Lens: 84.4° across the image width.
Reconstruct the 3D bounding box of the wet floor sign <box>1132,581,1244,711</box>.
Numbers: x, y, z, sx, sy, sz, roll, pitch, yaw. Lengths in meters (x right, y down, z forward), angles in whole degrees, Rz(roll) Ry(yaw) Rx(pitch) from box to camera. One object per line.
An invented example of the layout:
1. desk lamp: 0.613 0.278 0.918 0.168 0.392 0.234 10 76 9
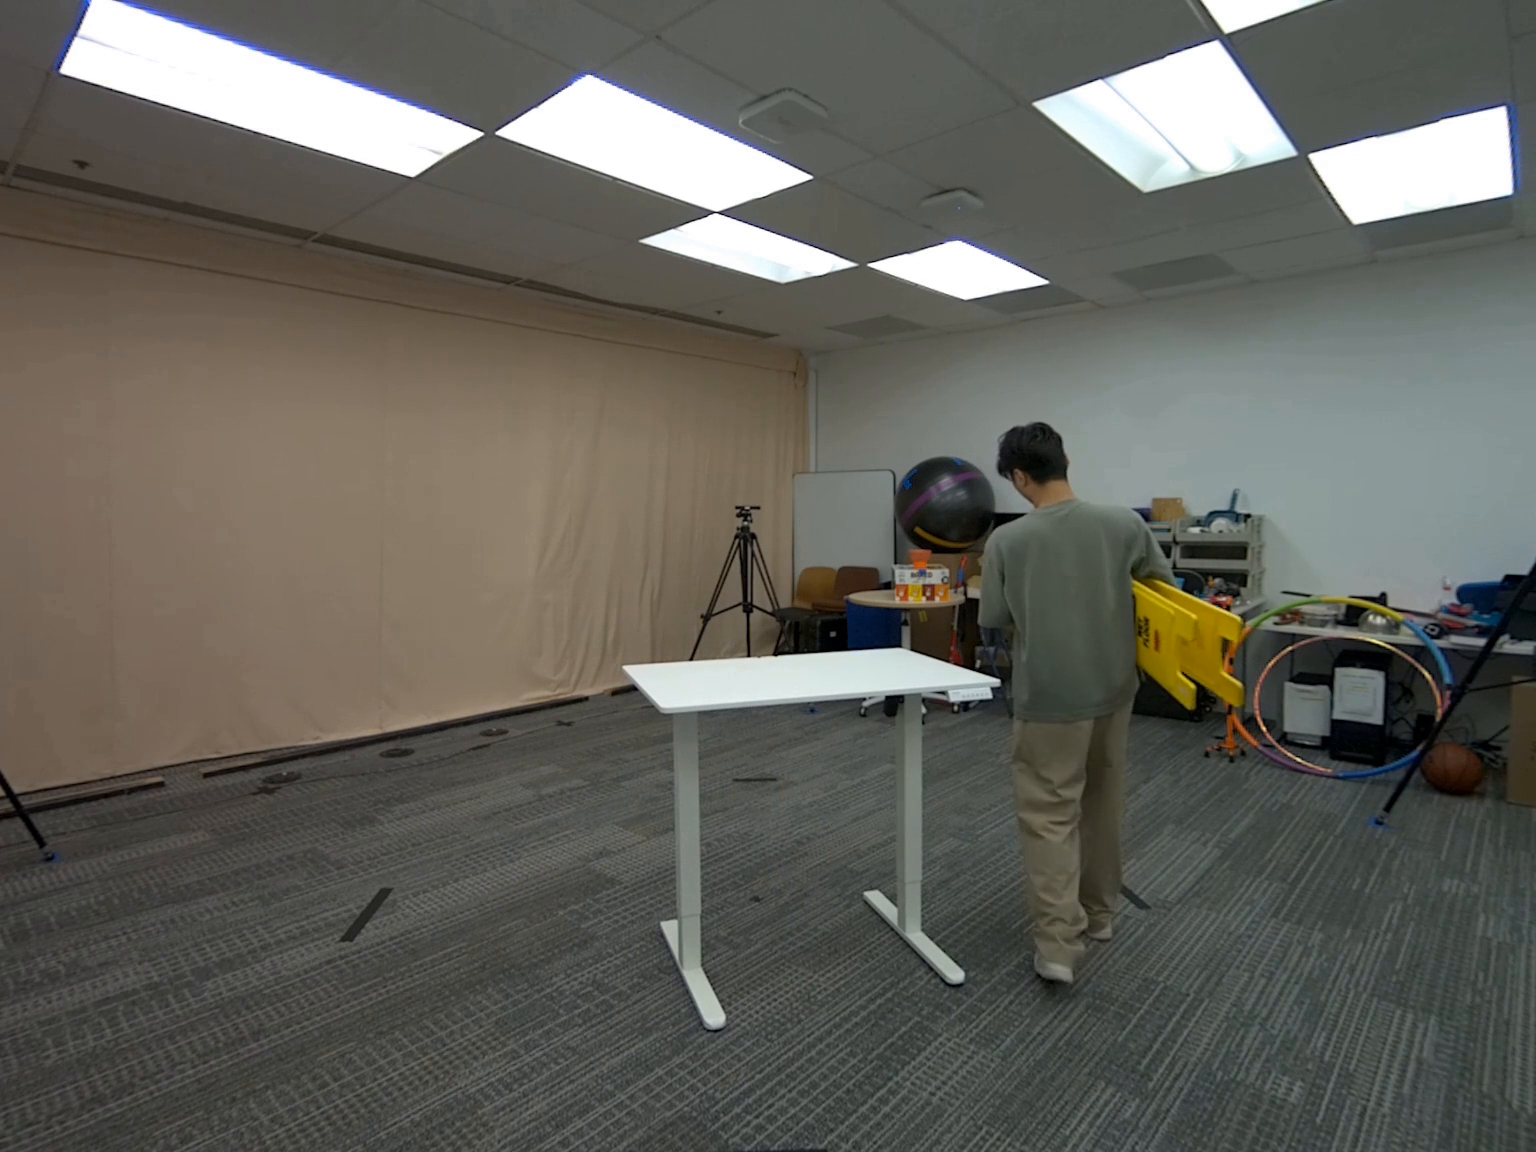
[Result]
1. wet floor sign: 1.148 0.142 2.557 0.287 0.279 0.659 -5 21 -8
